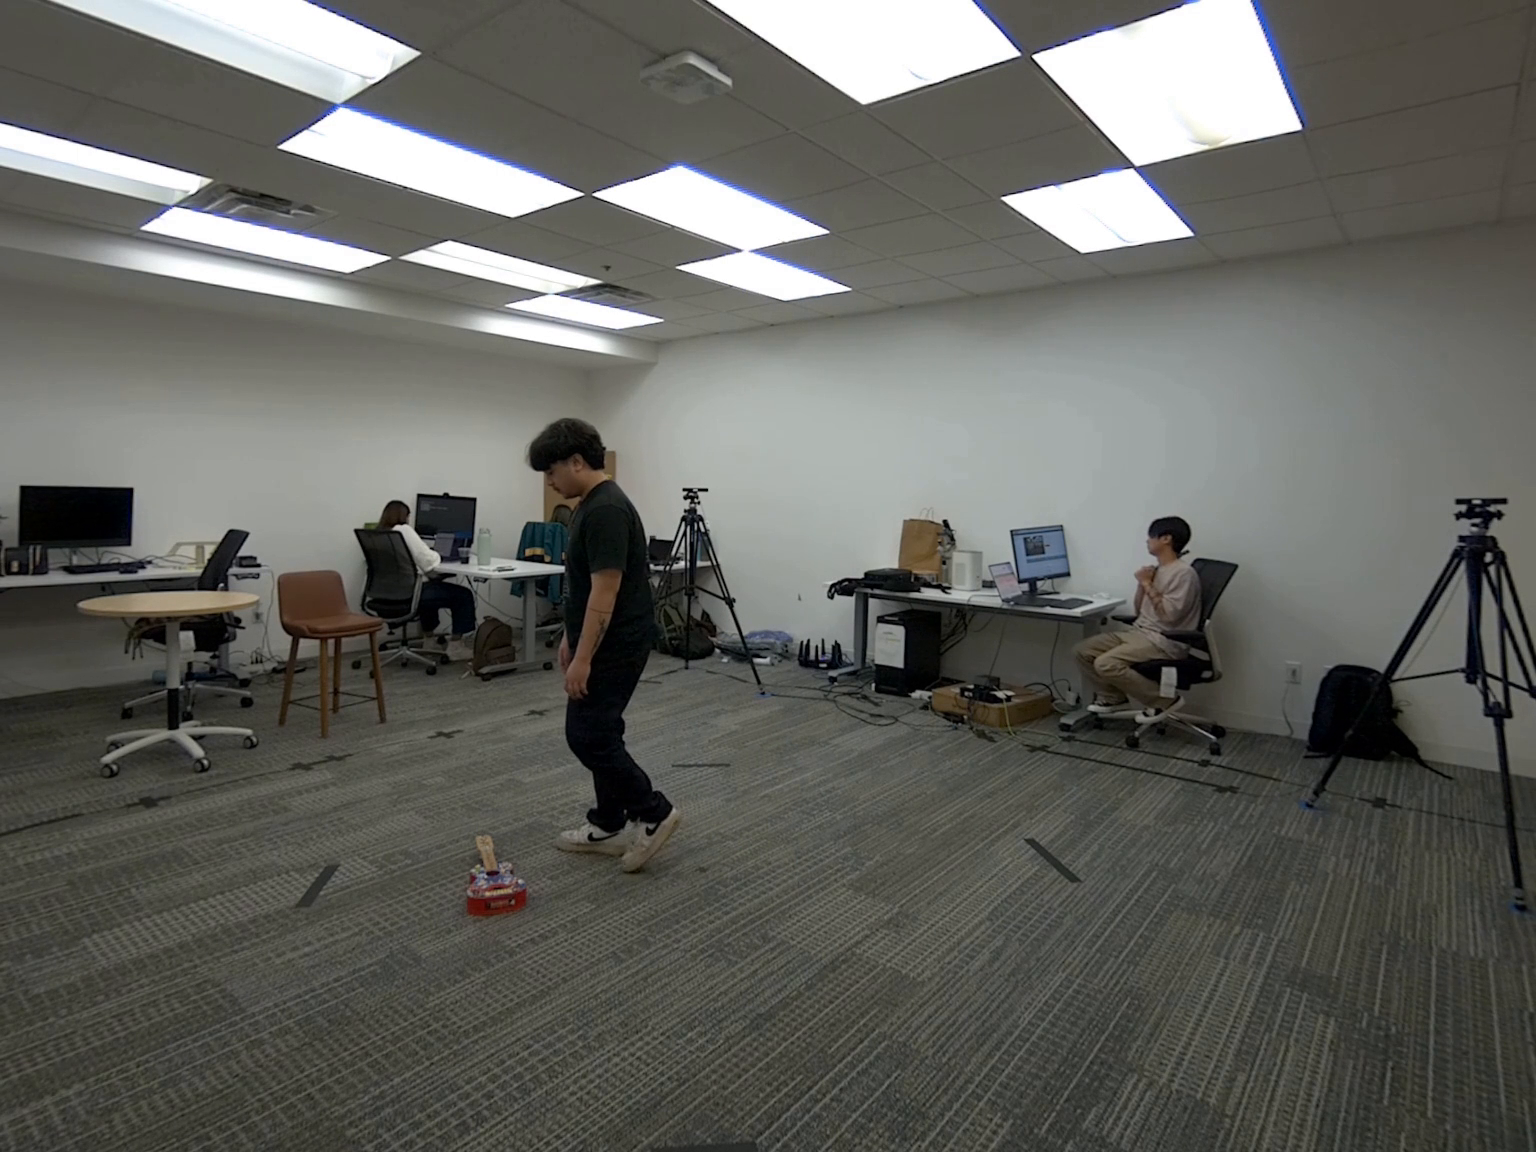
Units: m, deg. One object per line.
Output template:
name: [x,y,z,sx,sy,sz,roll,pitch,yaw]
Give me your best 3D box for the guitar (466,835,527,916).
guitar: [-0.961,1.034,2.991,0.190,0.070,0.508,-2,7,-15]
